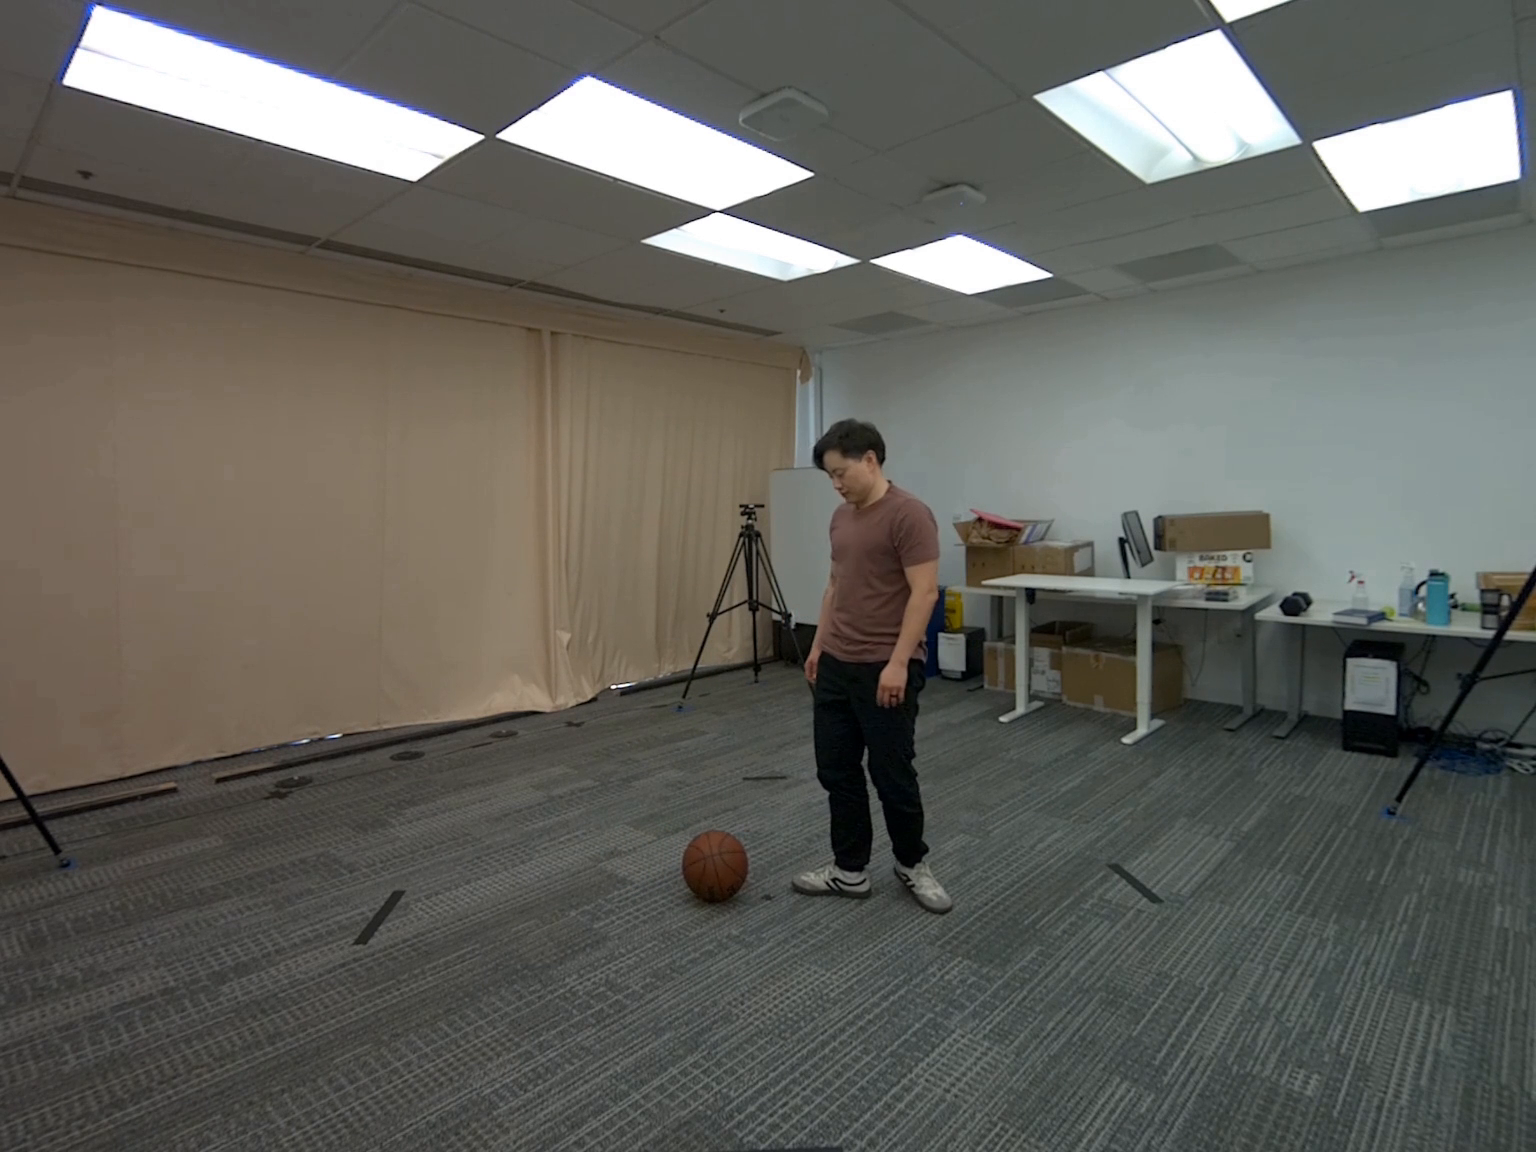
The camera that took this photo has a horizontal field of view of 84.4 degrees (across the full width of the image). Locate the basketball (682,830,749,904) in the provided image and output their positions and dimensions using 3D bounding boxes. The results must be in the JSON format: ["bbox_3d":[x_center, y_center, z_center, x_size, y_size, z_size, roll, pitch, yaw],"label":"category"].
[{"bbox_3d":[-0.183,1.028,2.988,0.236,0.235,0.237,-1,4,-2],"label":"basketball"}]
